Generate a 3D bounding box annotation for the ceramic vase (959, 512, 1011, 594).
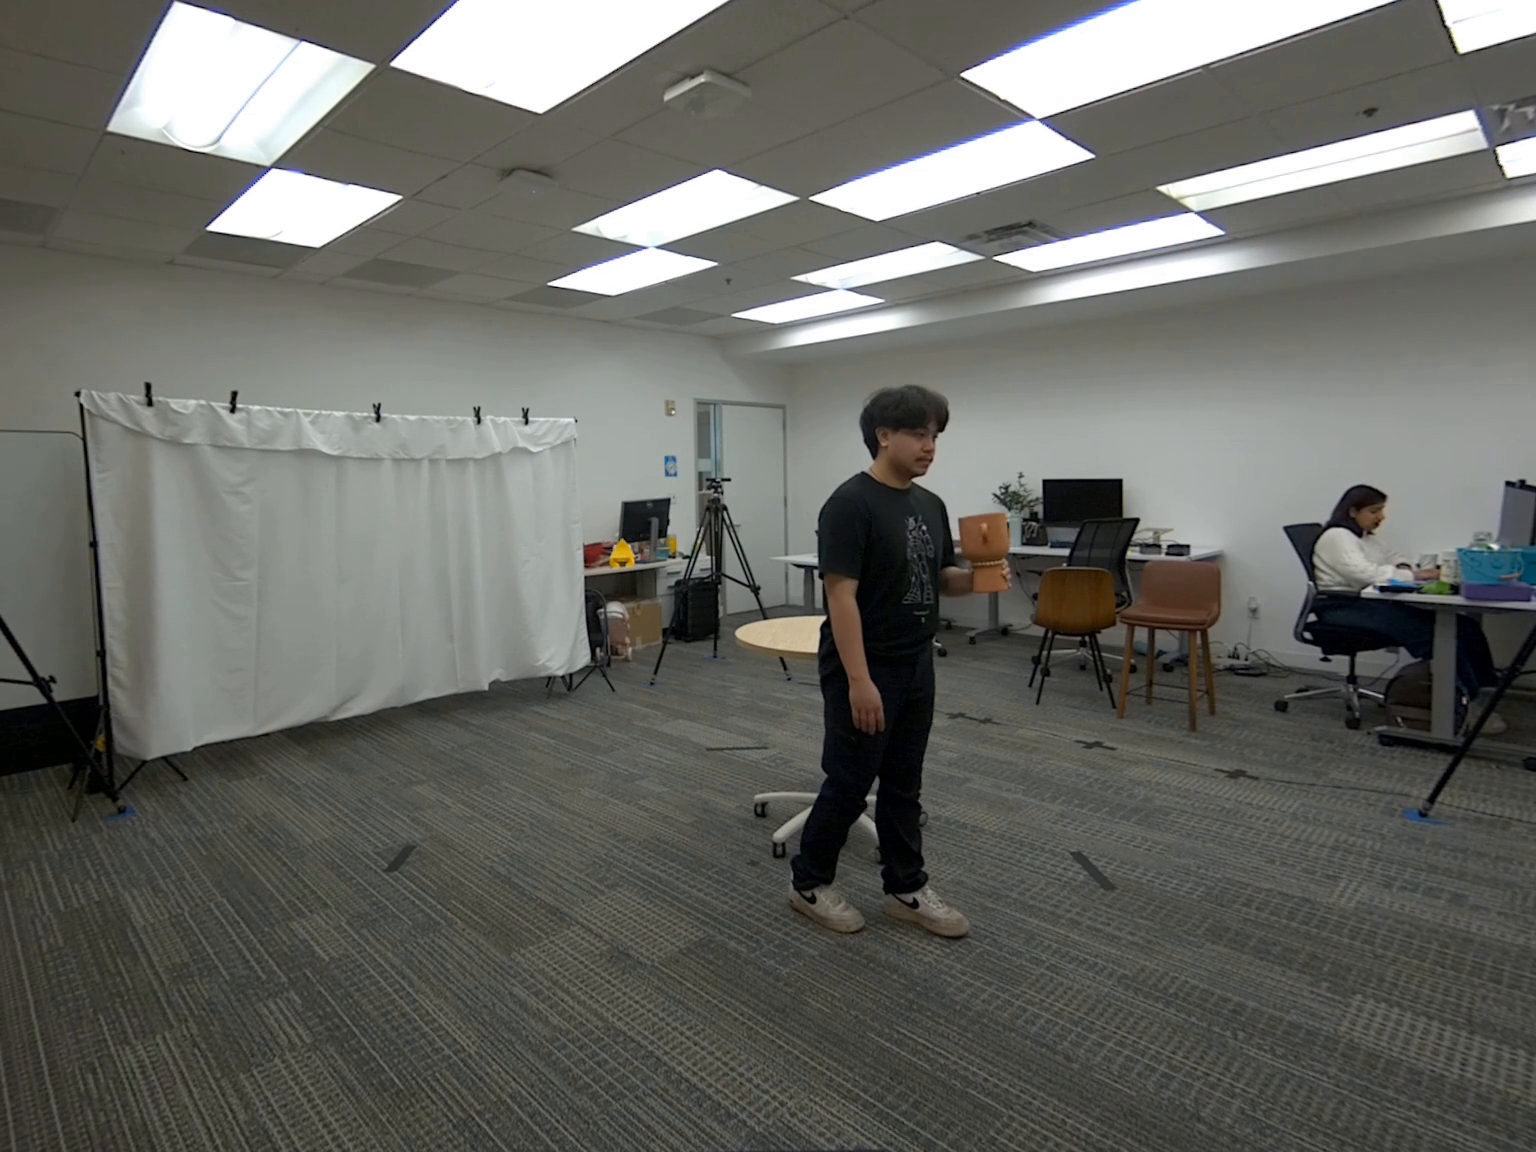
[{"bbox_3d":[0.612,-0.067,2.453,0.155,0.219,0.138,-10,4,-36],"label":"ceramic vase"}]
